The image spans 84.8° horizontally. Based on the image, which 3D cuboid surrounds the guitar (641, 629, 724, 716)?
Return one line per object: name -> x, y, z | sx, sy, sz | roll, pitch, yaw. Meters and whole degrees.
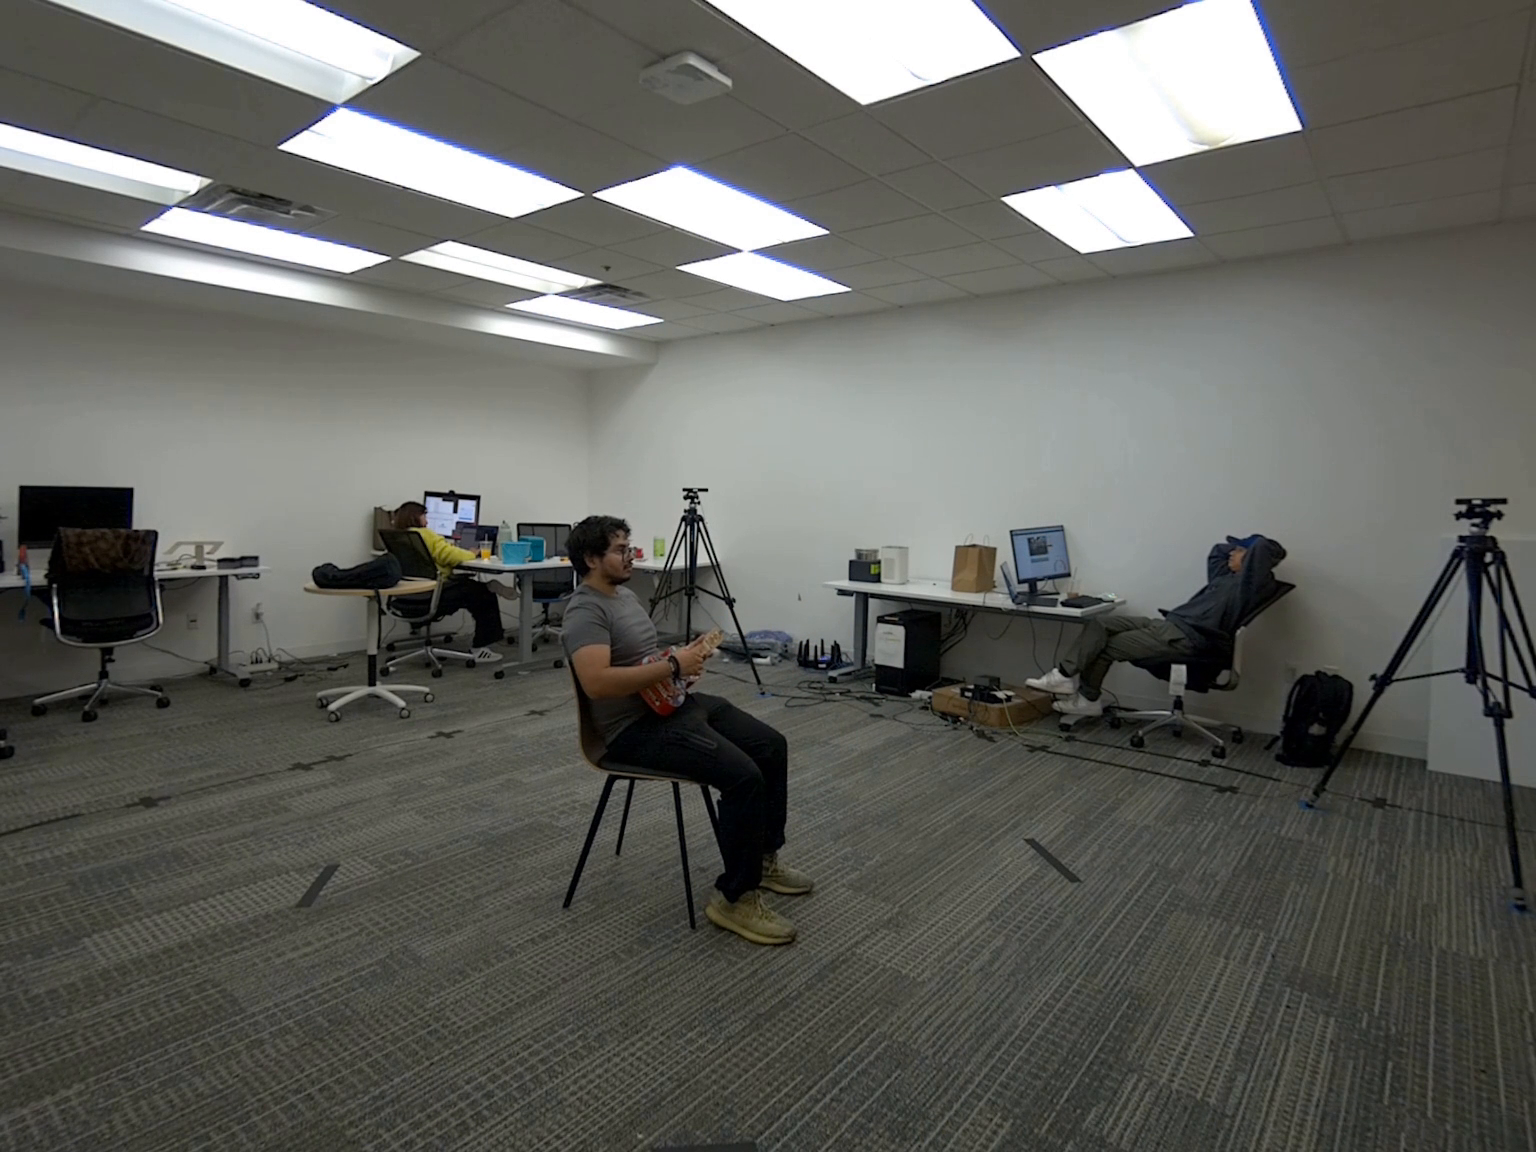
guitar -> -0.277, 0.322, 2.927 | 0.071, 0.196, 0.488 | -43, -11, 28
